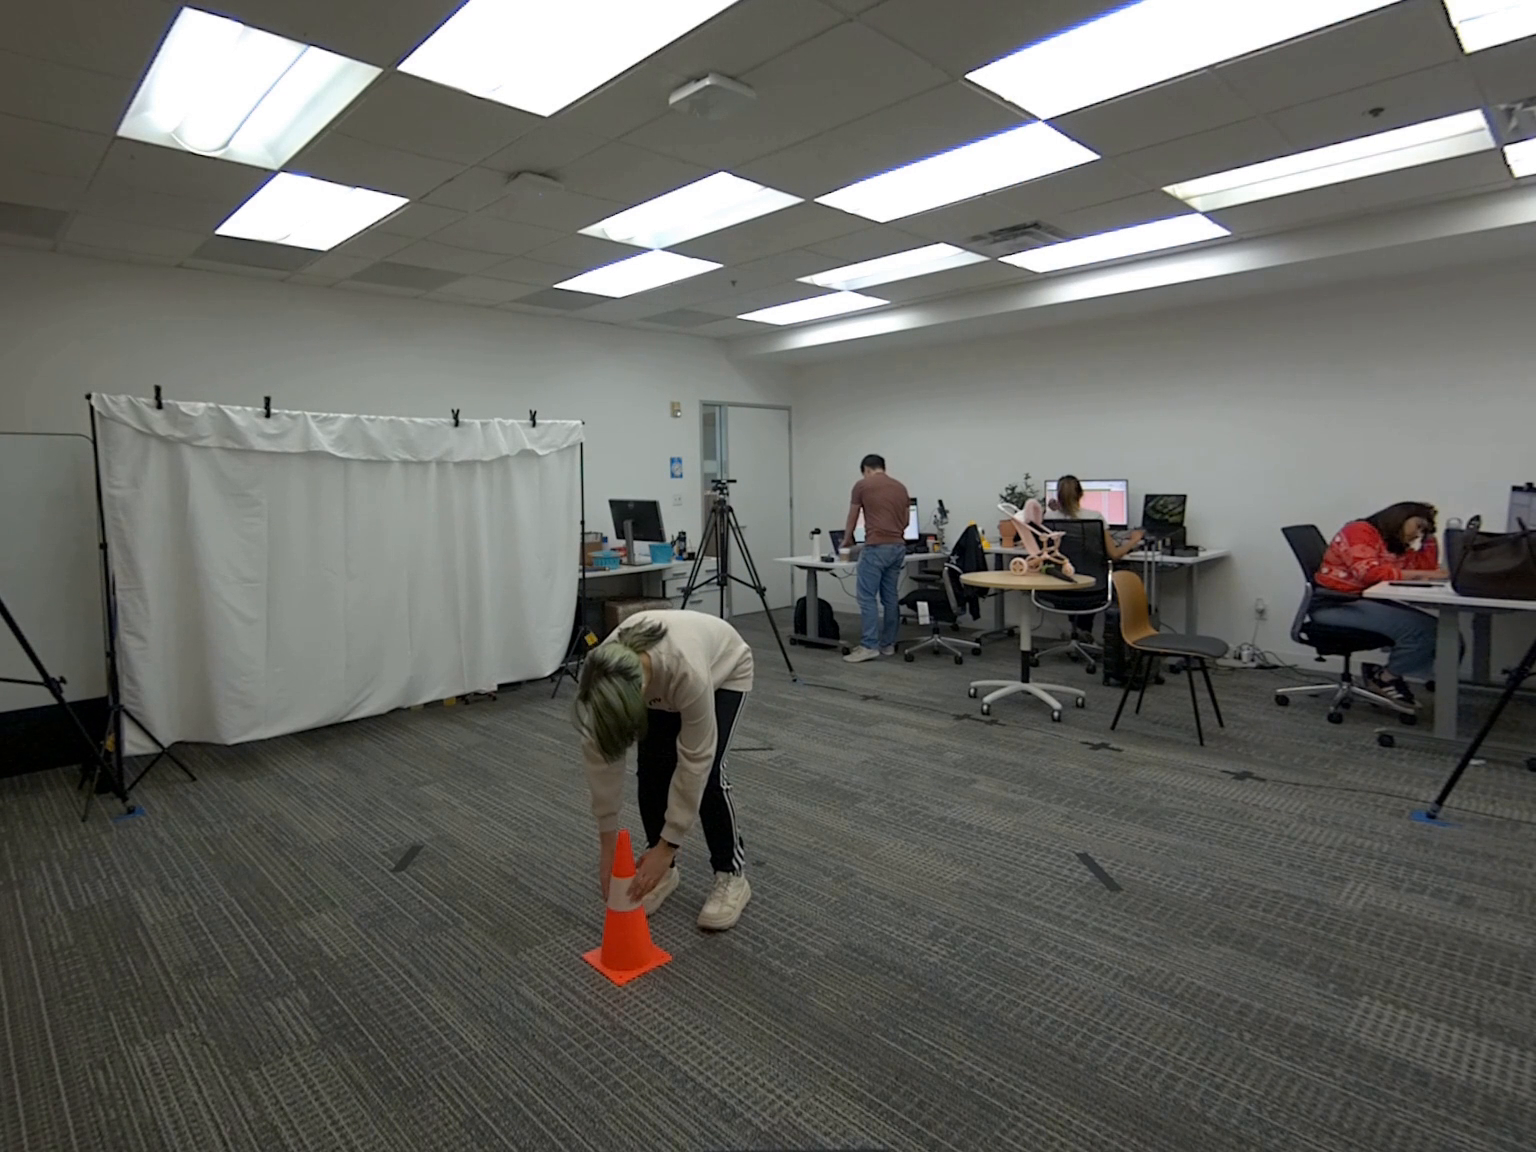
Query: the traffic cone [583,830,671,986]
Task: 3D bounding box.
[{"bbox_3d":[-0.416,0.939,2.513,0.198,0.383,0.211,-4,3,-42],"label":"traffic cone"}]
